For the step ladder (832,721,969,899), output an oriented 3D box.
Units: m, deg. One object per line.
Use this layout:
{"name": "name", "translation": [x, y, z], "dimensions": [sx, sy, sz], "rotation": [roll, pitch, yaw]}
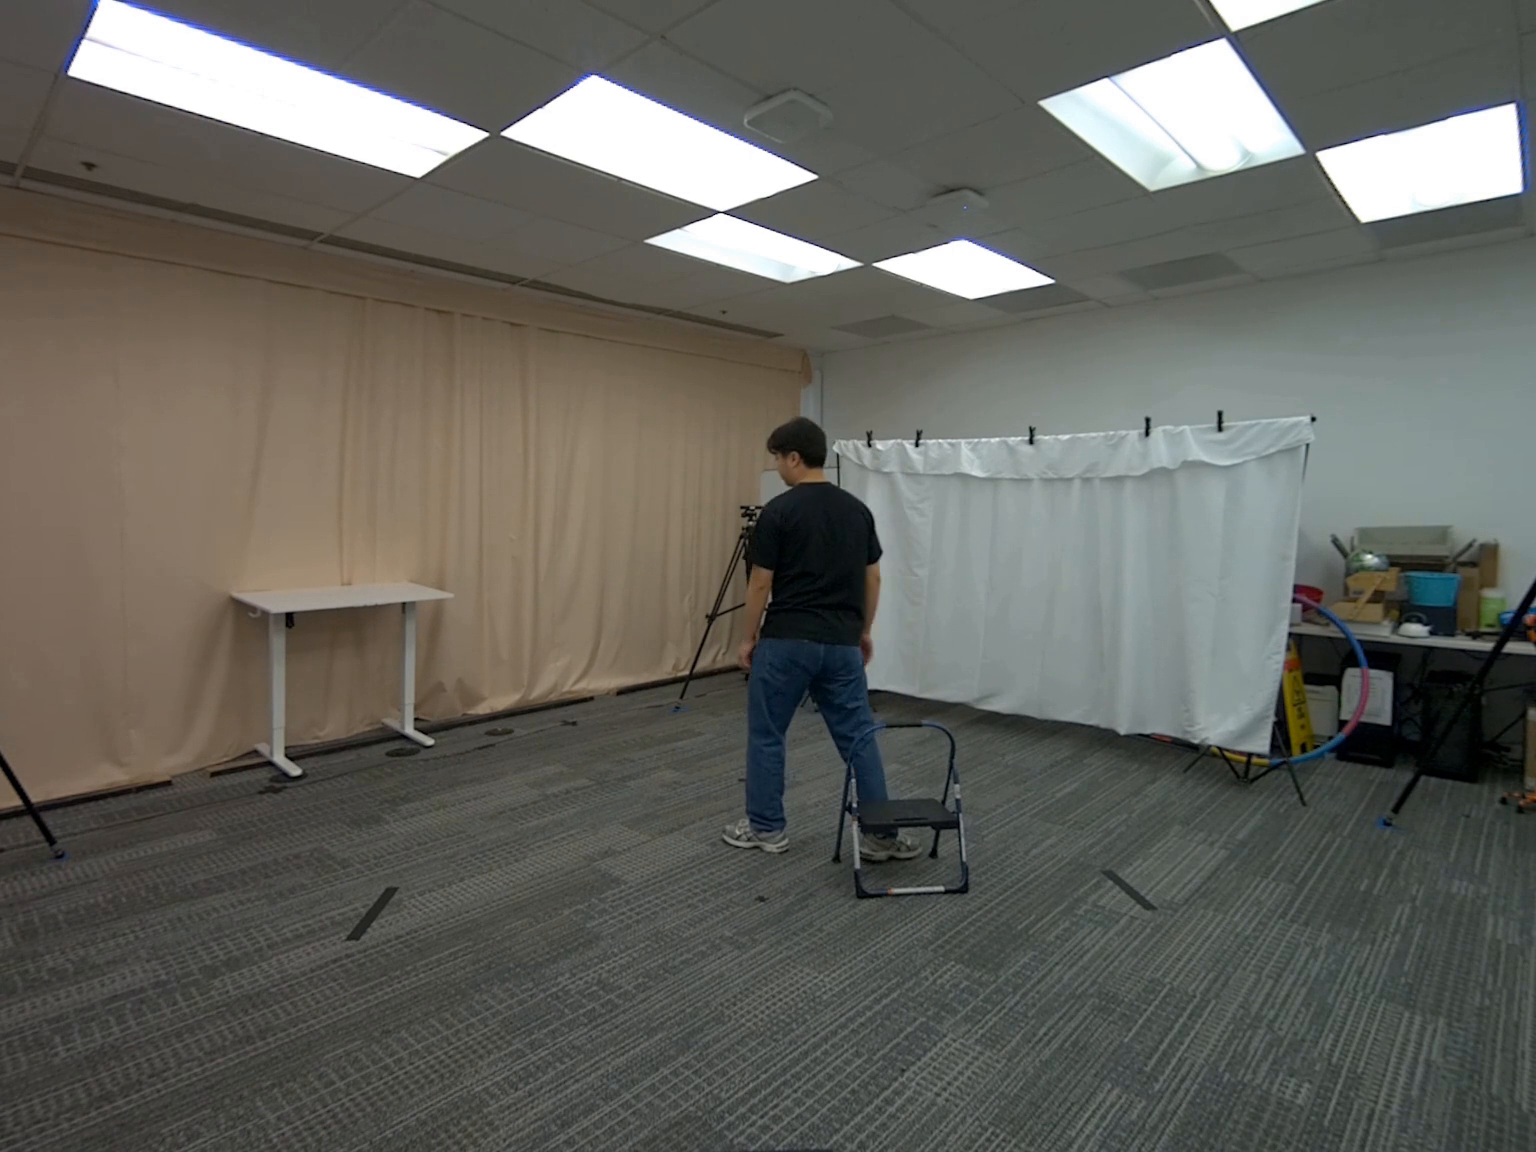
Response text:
{"name": "step ladder", "translation": [0.497, 0.831, 3.151], "dimensions": [0.427, 0.605, 0.353], "rotation": [-1, 2, -9]}
